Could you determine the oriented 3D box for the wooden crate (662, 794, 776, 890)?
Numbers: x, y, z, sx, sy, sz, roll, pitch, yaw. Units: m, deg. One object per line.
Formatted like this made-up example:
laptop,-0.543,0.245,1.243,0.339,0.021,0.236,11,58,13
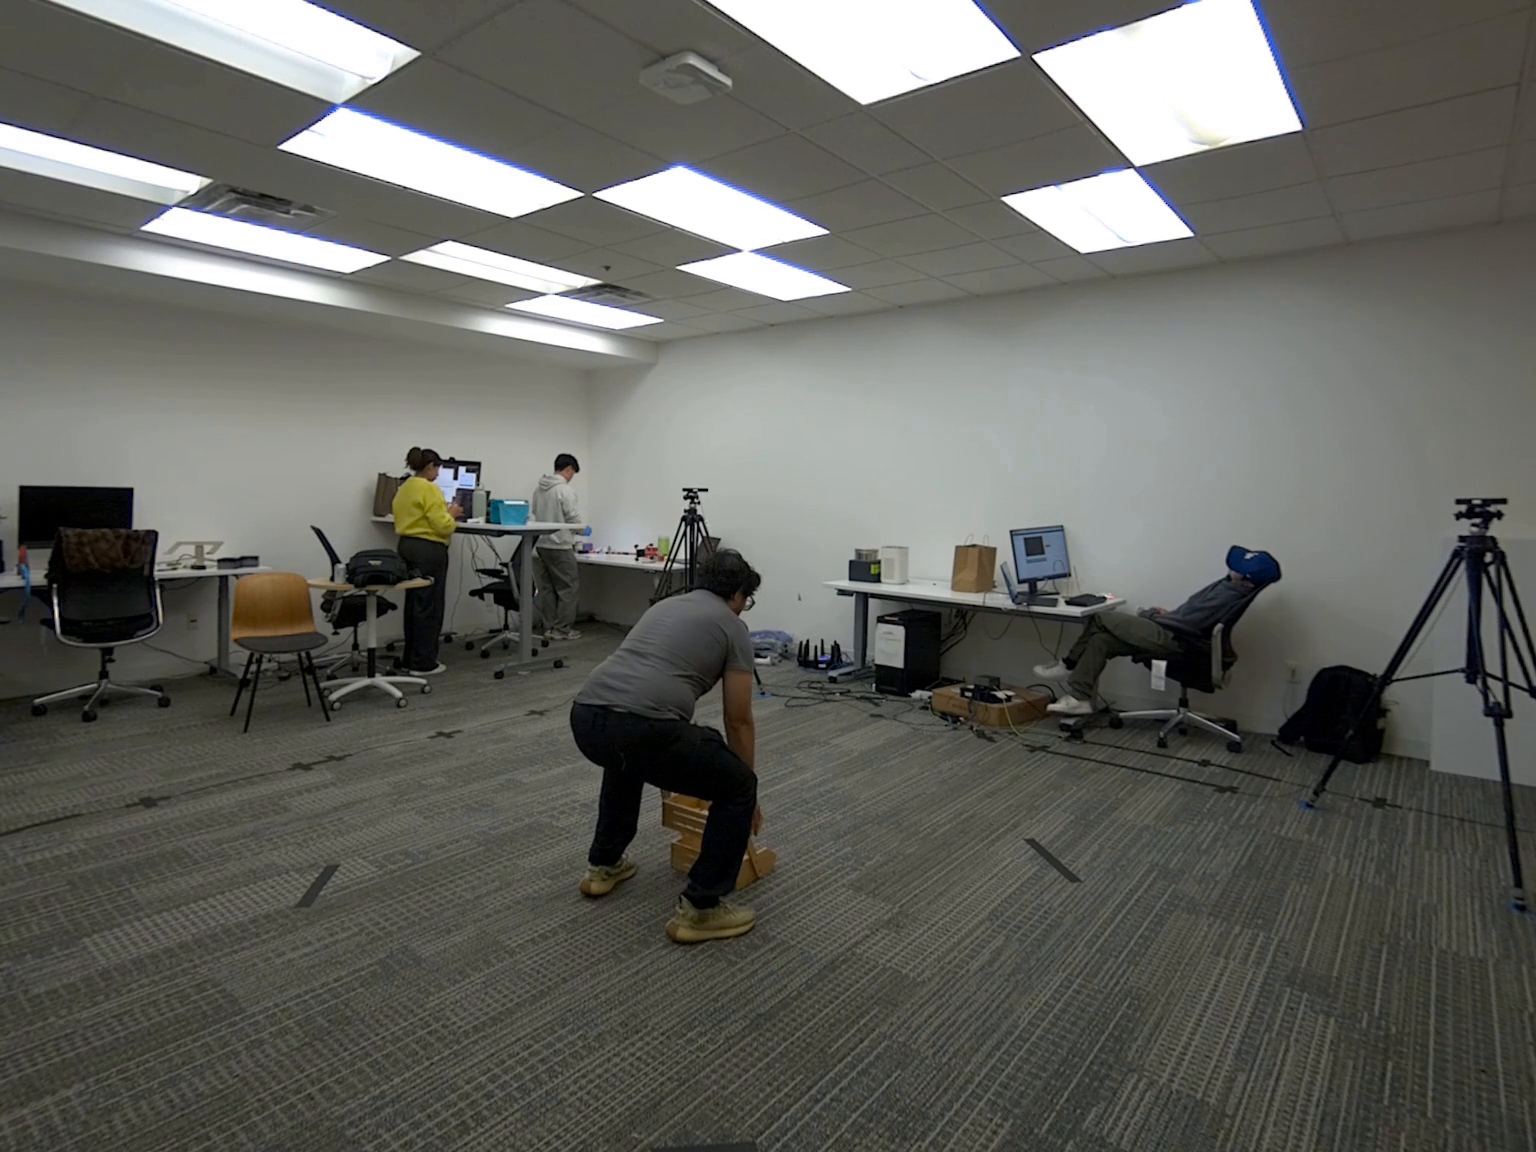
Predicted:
wooden crate,-0.182,0.937,3.104,0.335,0.272,0.293,4,5,35
